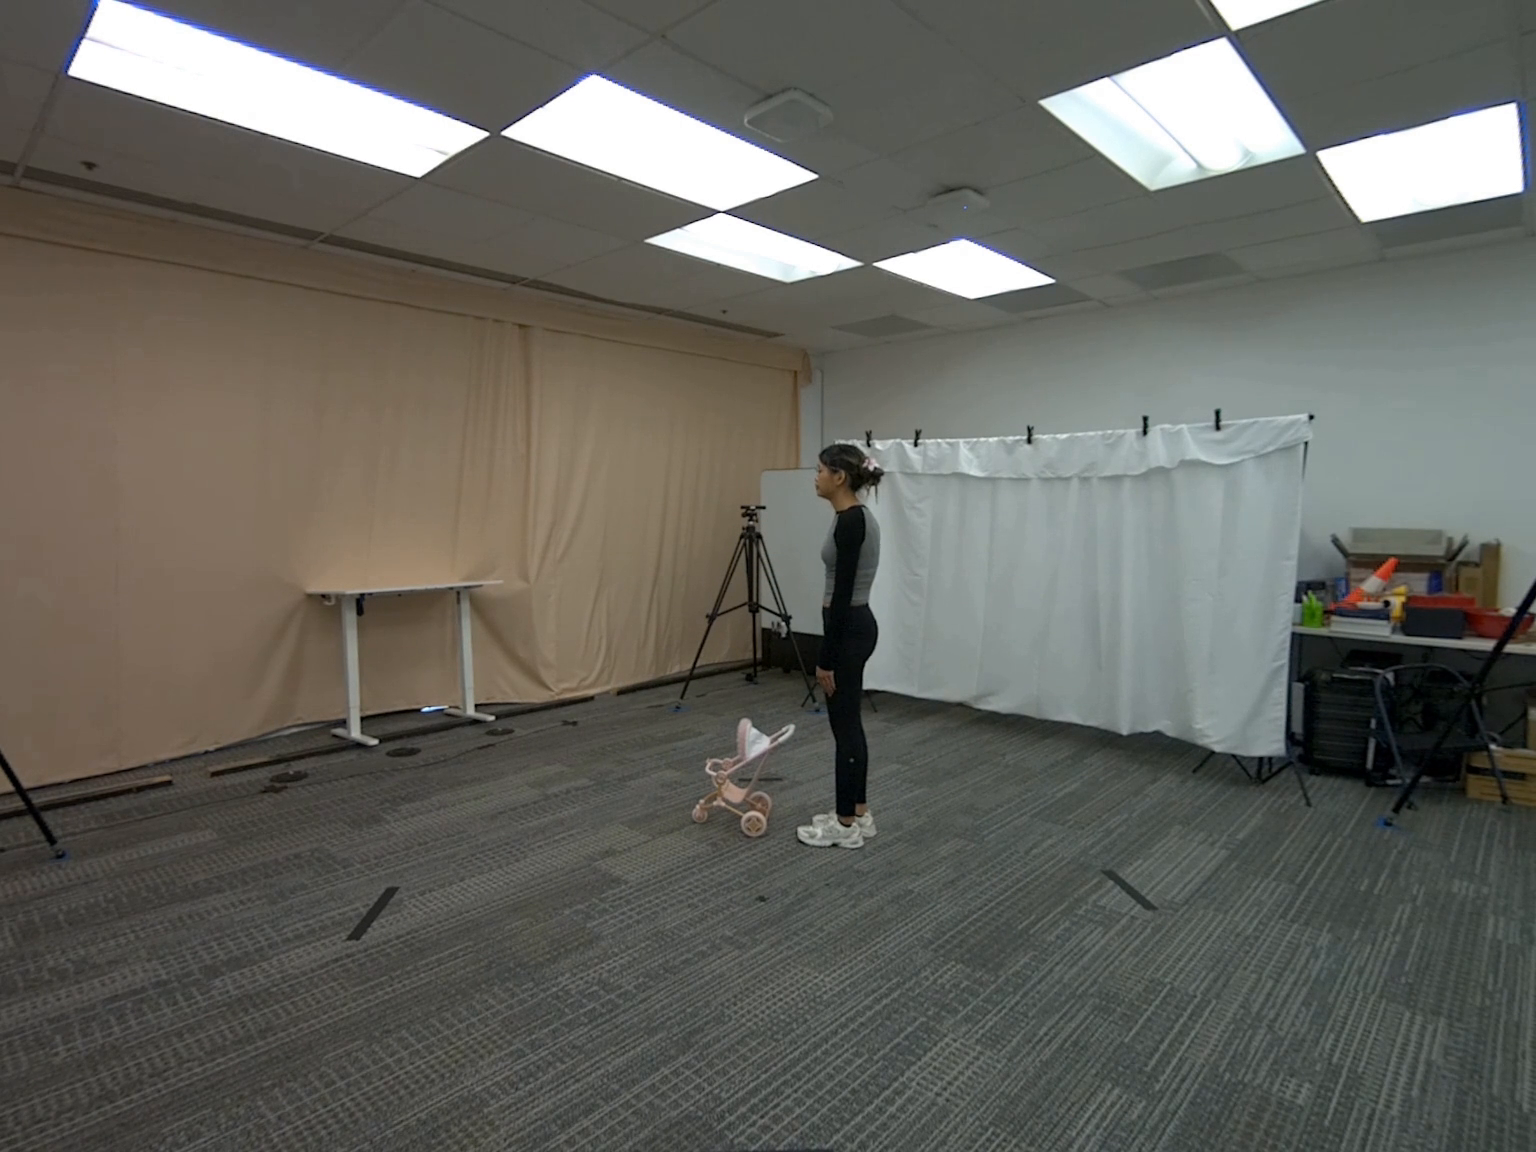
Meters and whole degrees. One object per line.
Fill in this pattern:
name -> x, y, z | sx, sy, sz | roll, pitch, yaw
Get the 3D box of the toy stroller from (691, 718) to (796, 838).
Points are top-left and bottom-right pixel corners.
toy stroller -> -0.113, 0.864, 3.672 | 0.347, 0.534, 0.278 | 16, 7, 12
